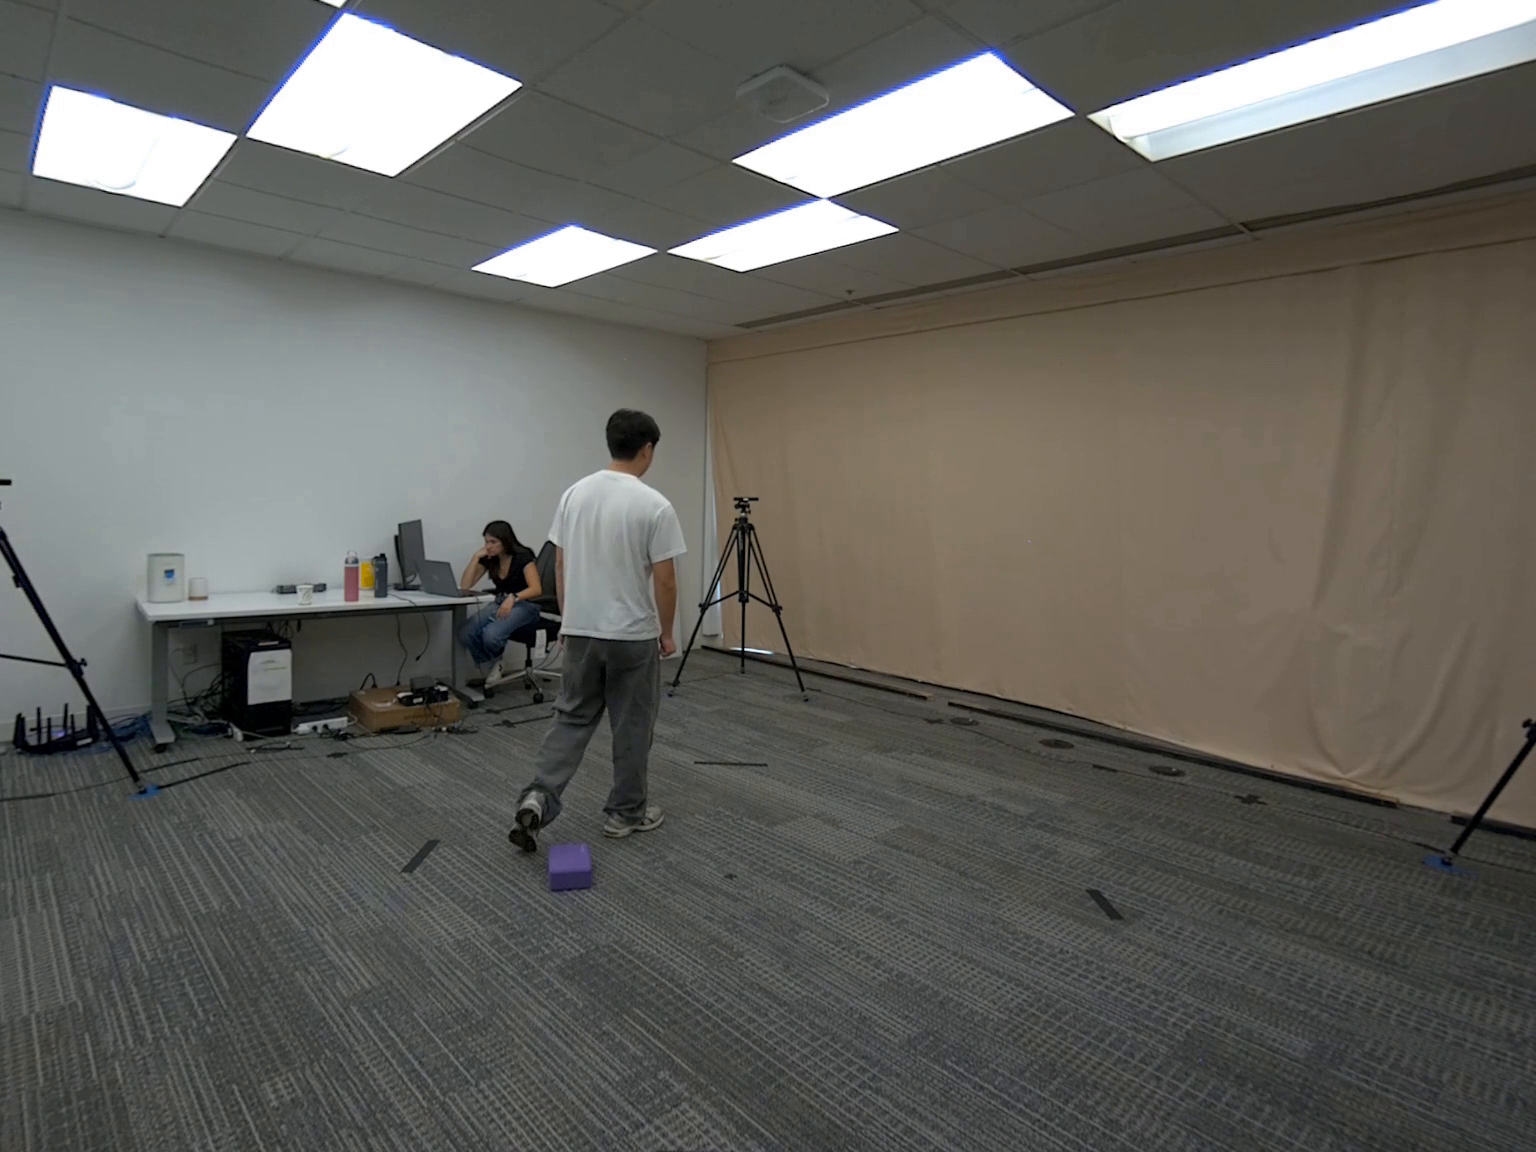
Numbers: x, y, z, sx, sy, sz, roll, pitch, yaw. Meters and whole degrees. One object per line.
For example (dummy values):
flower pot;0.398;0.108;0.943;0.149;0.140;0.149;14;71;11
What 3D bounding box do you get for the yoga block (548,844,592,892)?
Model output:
yoga block;-0.733;1.064;3.064;0.147;0.076;0.232;0;5;-14
